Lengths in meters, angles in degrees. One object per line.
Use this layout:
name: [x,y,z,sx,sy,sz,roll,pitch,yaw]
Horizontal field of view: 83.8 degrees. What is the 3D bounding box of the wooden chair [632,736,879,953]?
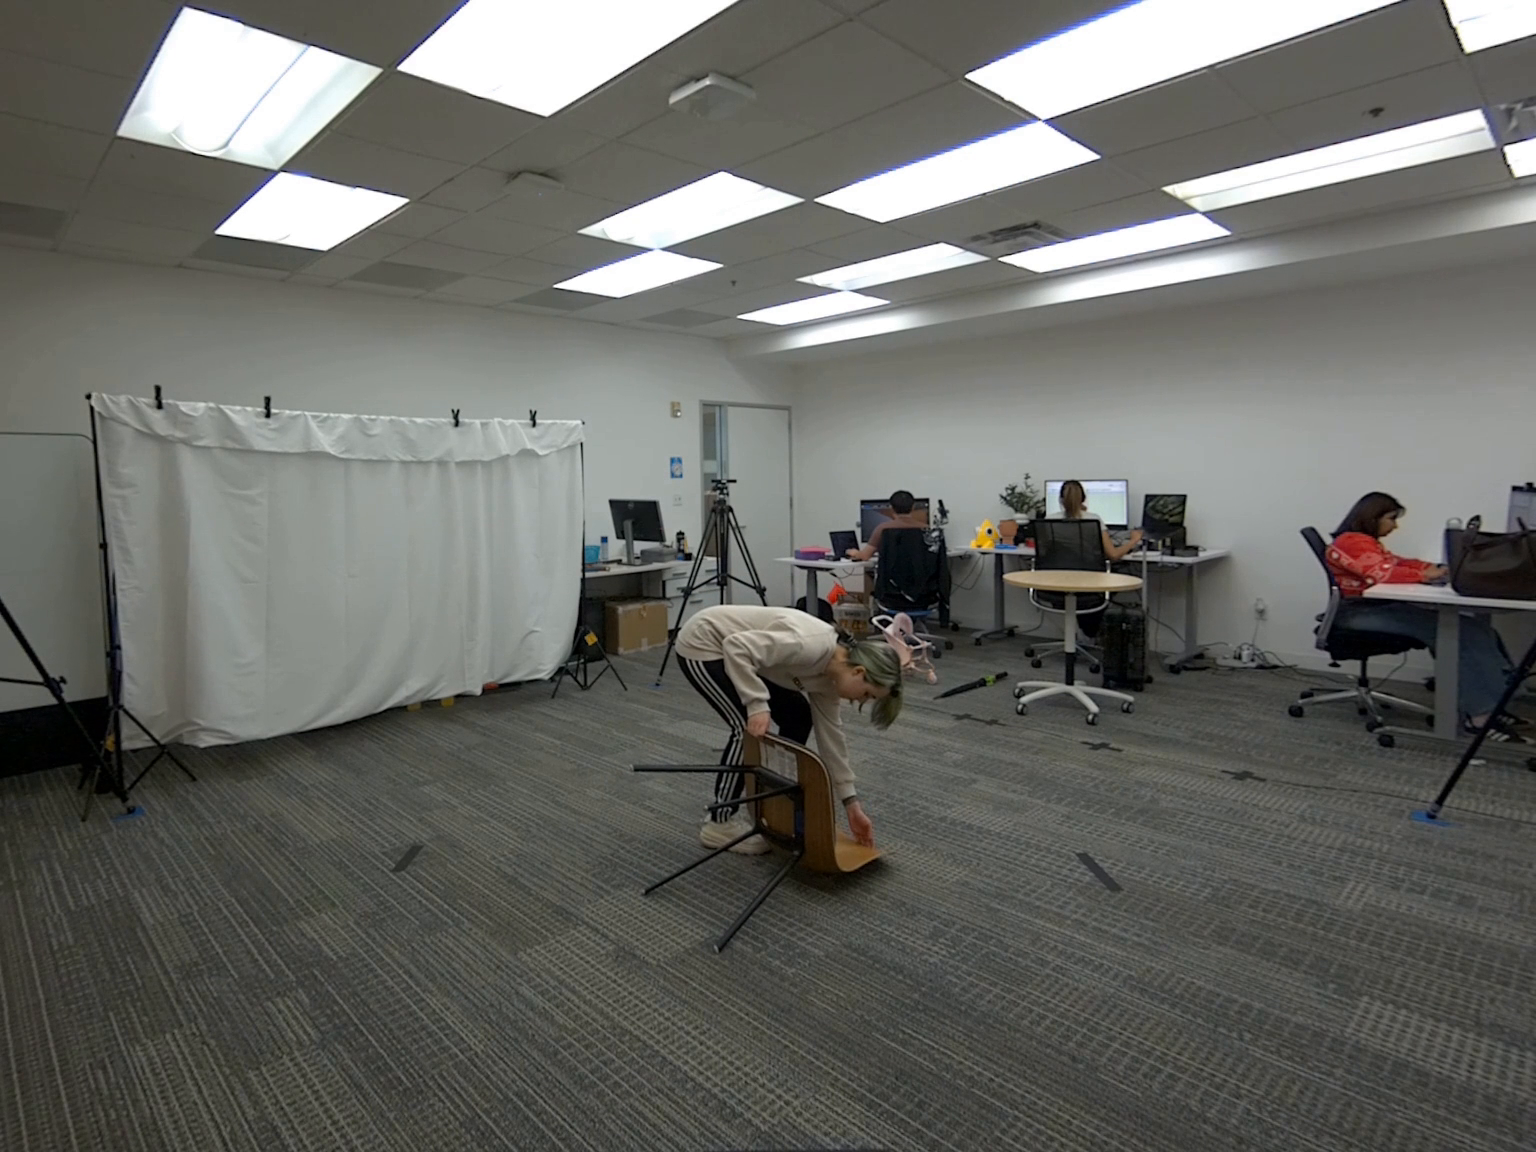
wooden chair: [0.029,0.805,2.921,0.855,0.521,0.493,-5,6,-37]
